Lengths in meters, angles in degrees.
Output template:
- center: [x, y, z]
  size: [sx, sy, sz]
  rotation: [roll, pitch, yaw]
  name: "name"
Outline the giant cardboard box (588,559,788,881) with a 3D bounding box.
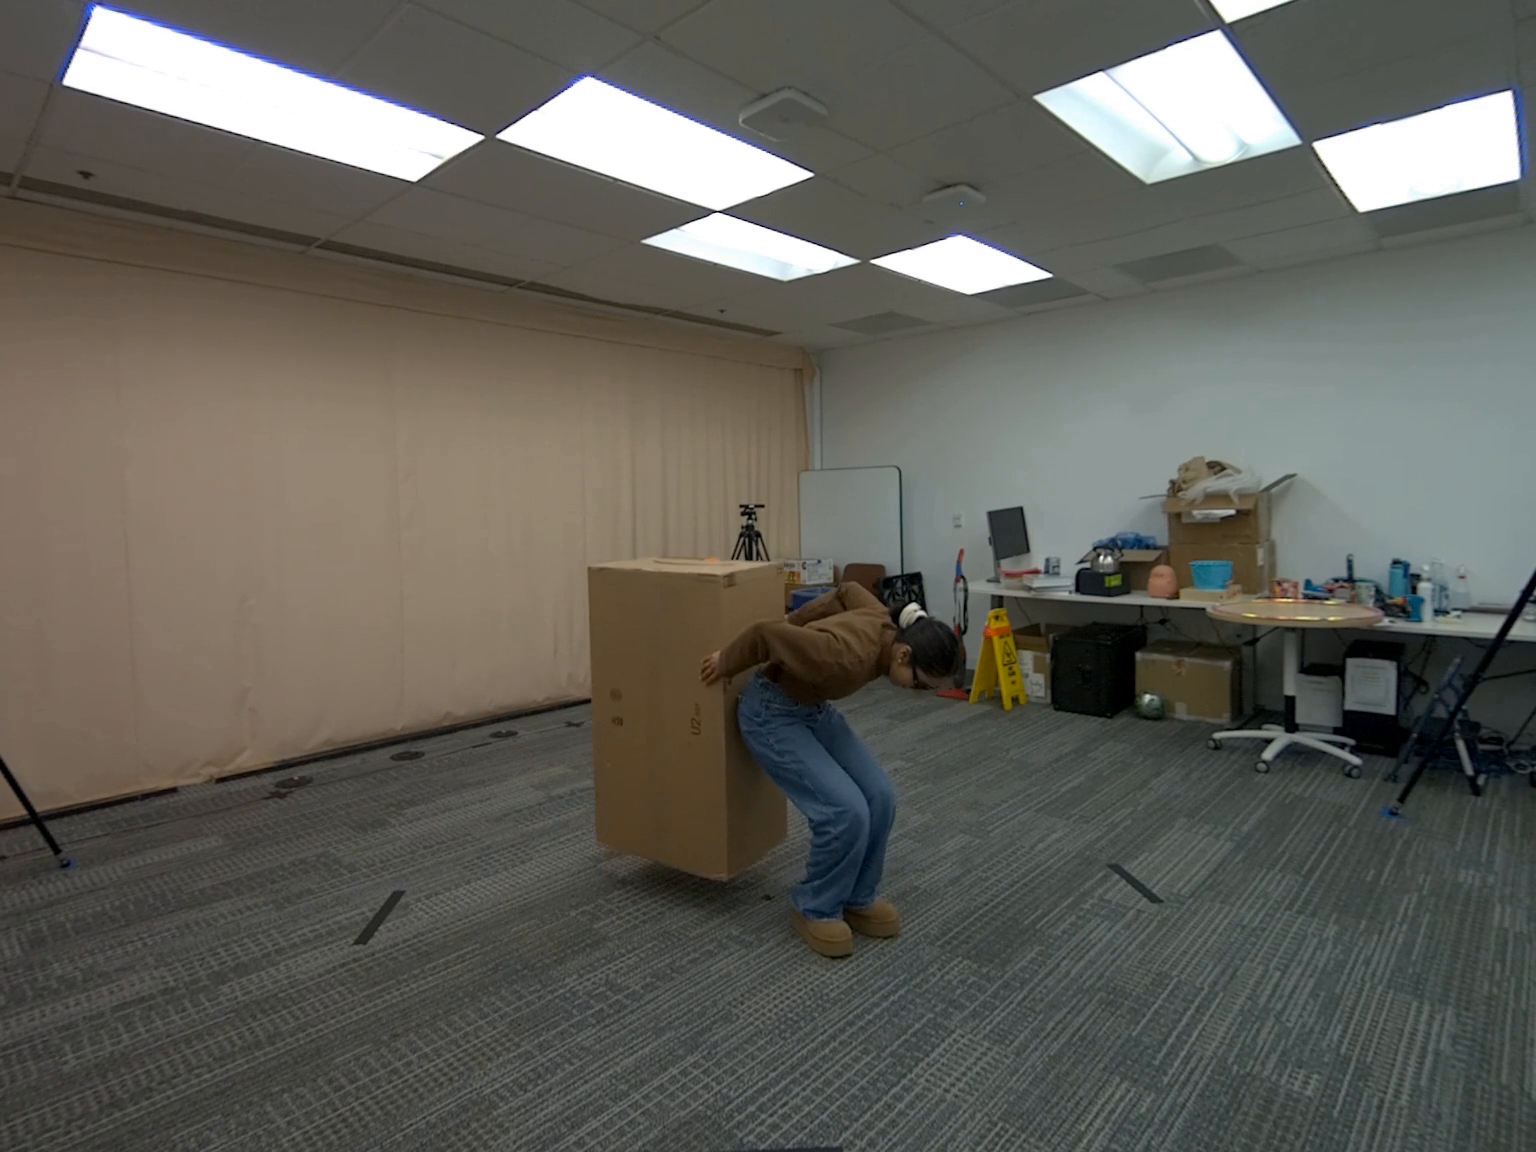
- center: [-0.286, 0.461, 3.064]
  size: [0.601, 1.023, 0.435]
  rotation: [3, 6, 31]
  name: "giant cardboard box"
